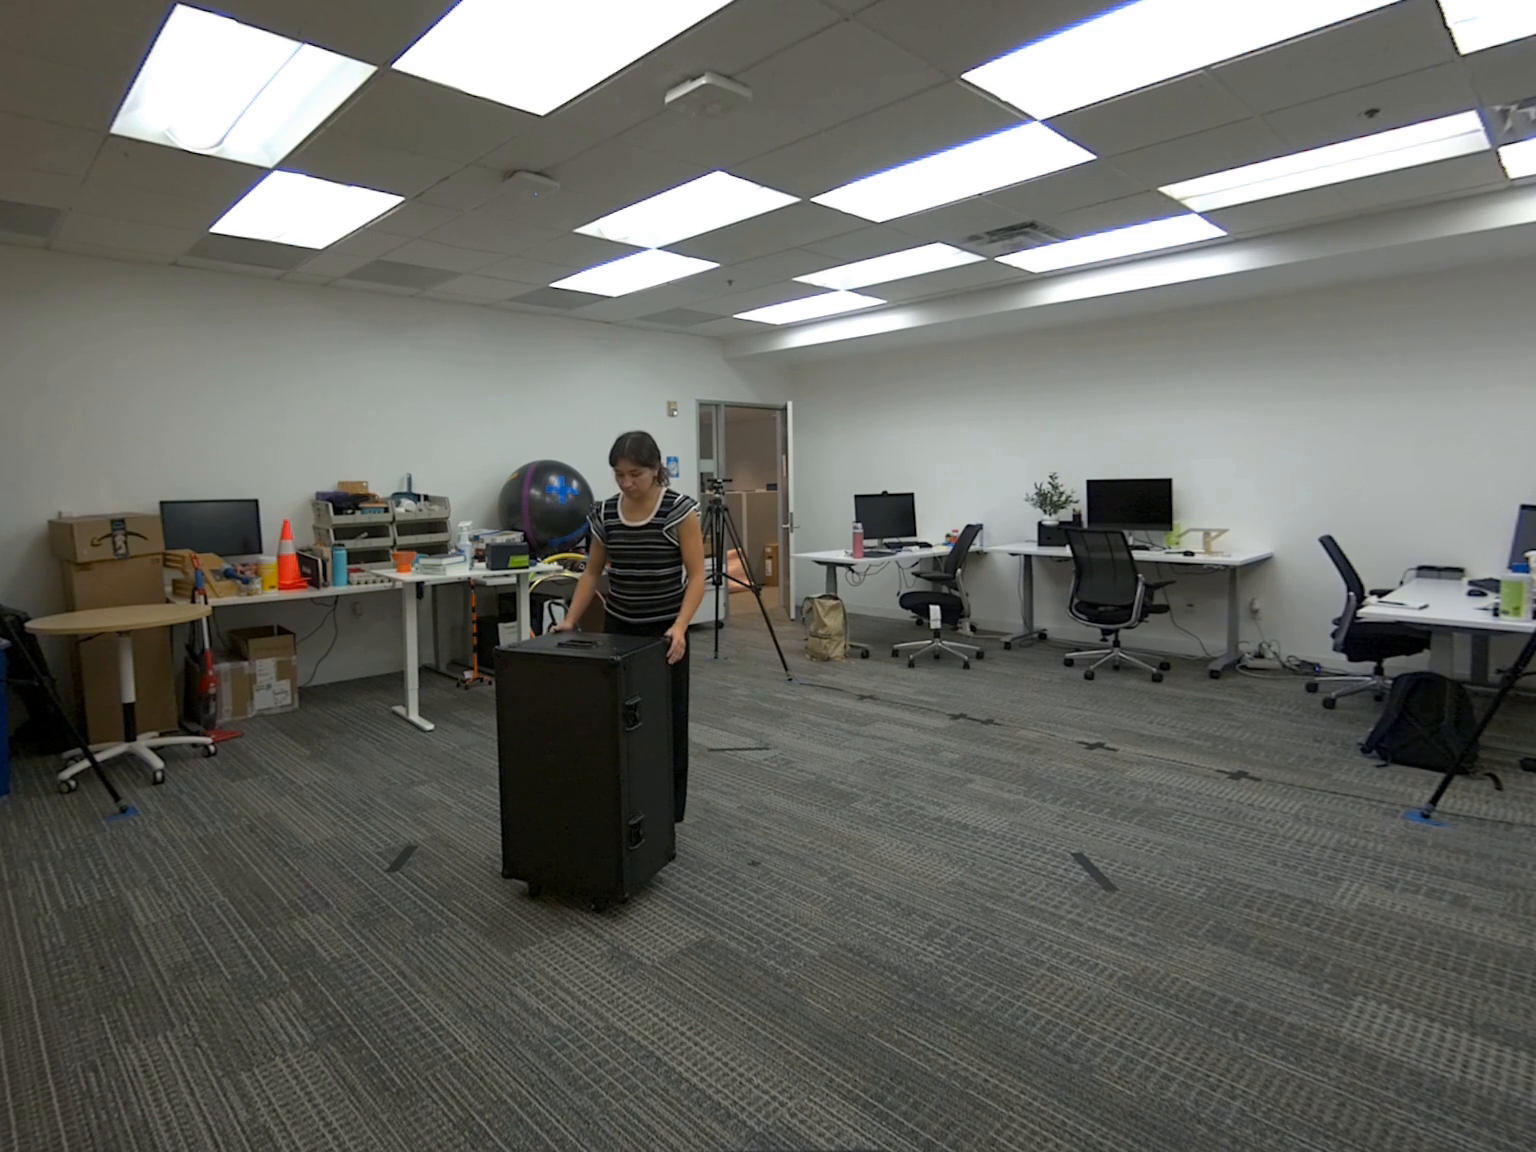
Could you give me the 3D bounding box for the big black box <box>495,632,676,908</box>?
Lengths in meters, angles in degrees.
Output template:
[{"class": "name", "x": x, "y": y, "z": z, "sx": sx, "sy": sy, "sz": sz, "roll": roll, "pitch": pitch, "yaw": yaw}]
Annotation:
[{"class": "big black box", "x": -0.620, "y": 0.652, "z": 2.930, "sx": 0.533, "sy": 0.859, "sz": 0.389, "roll": 0, "pitch": 4, "yaw": 24}]
